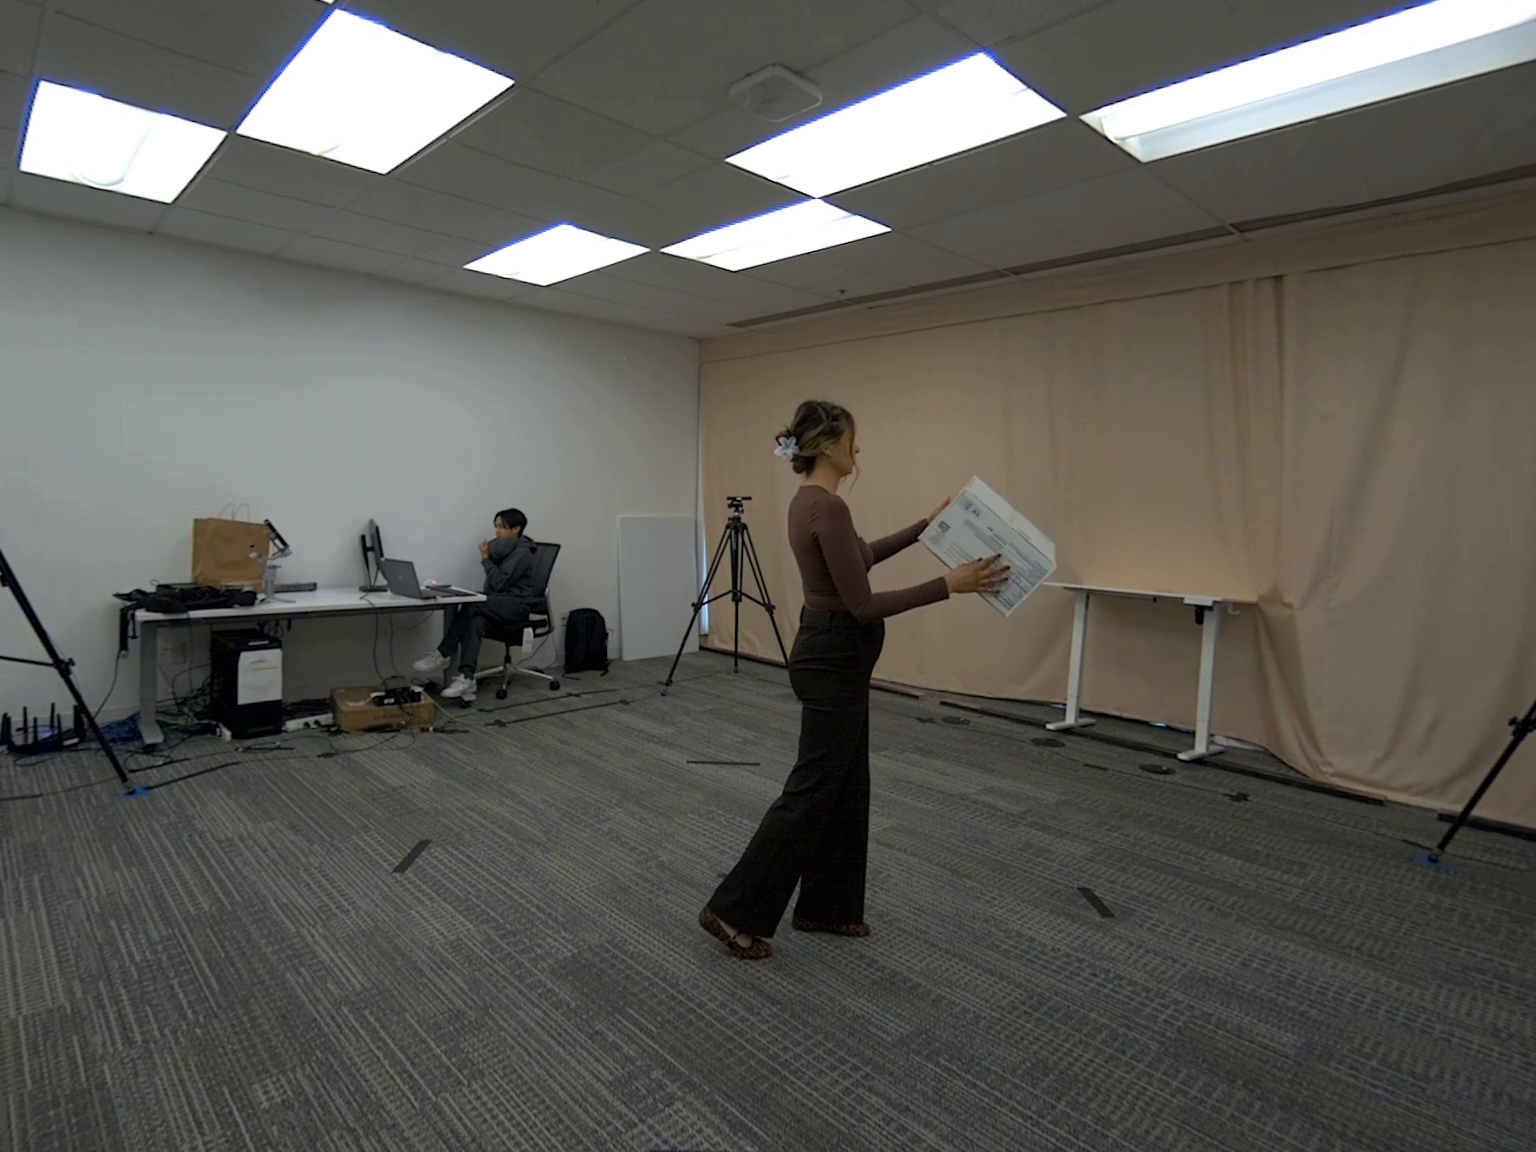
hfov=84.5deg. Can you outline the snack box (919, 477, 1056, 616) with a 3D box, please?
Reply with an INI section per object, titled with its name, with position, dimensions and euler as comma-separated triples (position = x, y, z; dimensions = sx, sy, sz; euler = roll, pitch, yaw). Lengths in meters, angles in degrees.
[snack box]
position = 0.673, -0.103, 2.581
dimensions = 0.343, 0.205, 0.402
euler = 42, 20, 7
